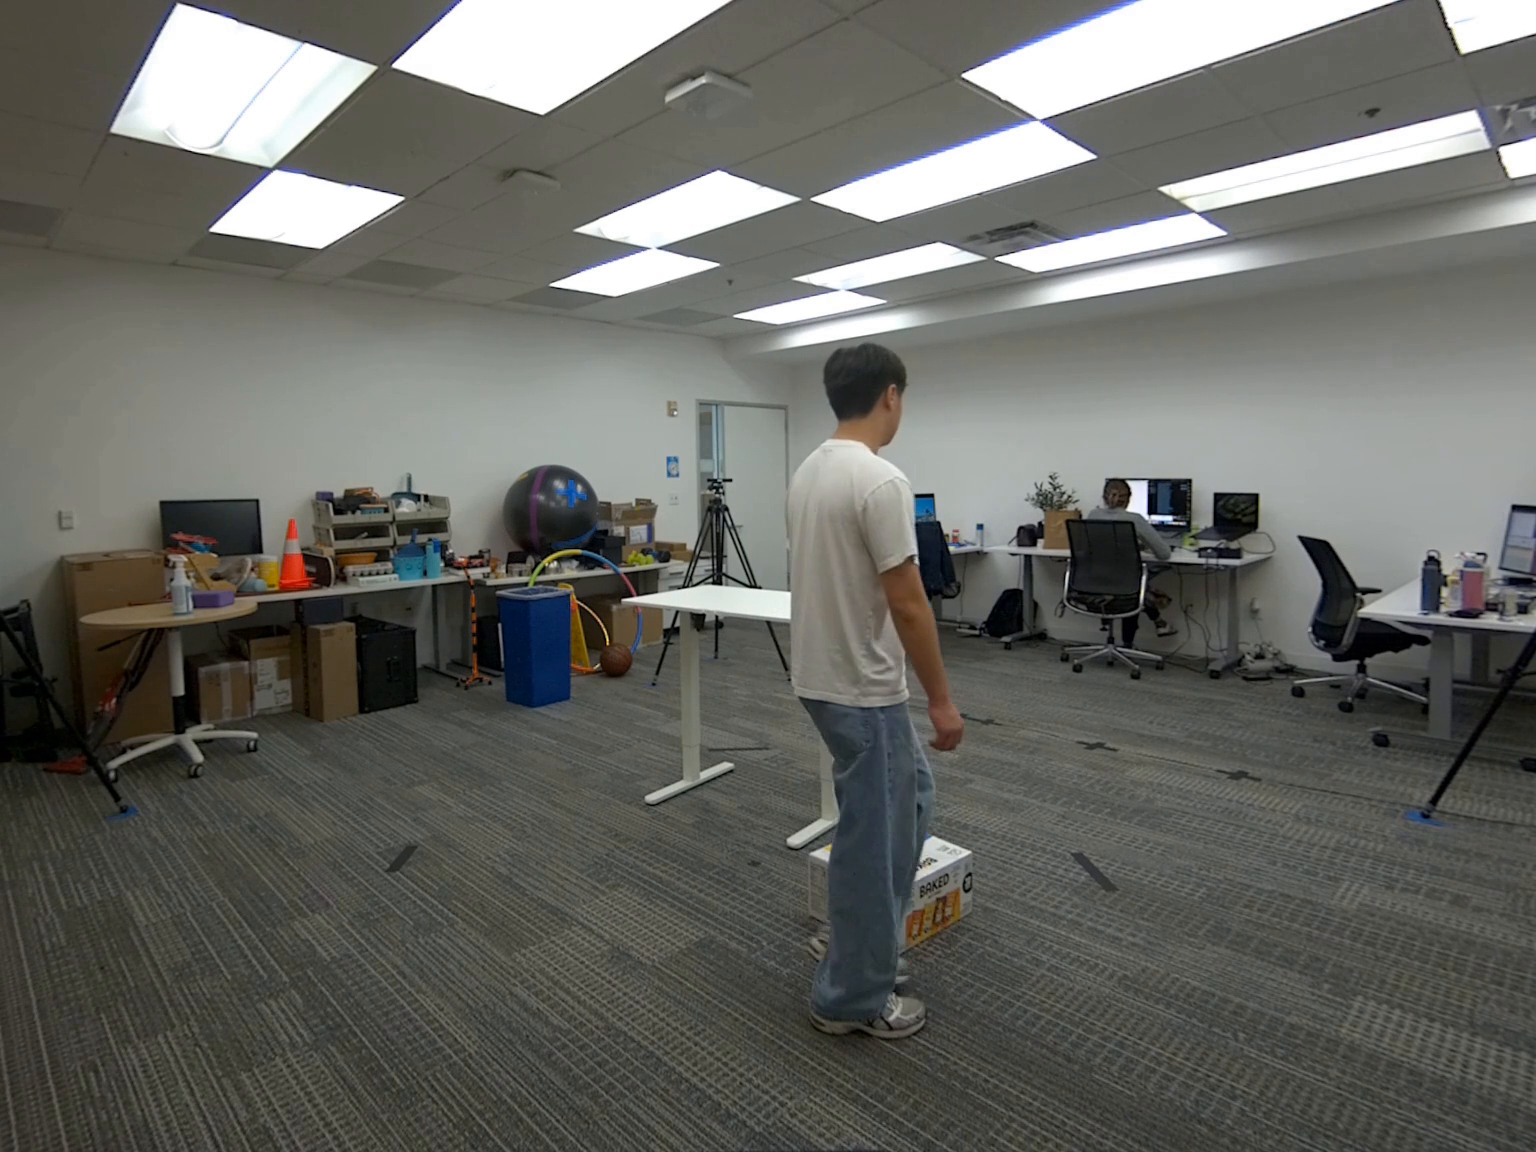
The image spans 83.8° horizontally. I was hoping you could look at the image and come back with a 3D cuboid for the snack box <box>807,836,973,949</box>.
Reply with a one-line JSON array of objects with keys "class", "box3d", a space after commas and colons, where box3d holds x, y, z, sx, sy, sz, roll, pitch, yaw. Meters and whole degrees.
[{"class": "snack box", "box3d": [0.398, 0.982, 2.718, 0.394, 0.205, 0.351, -6, 8, -42]}]
